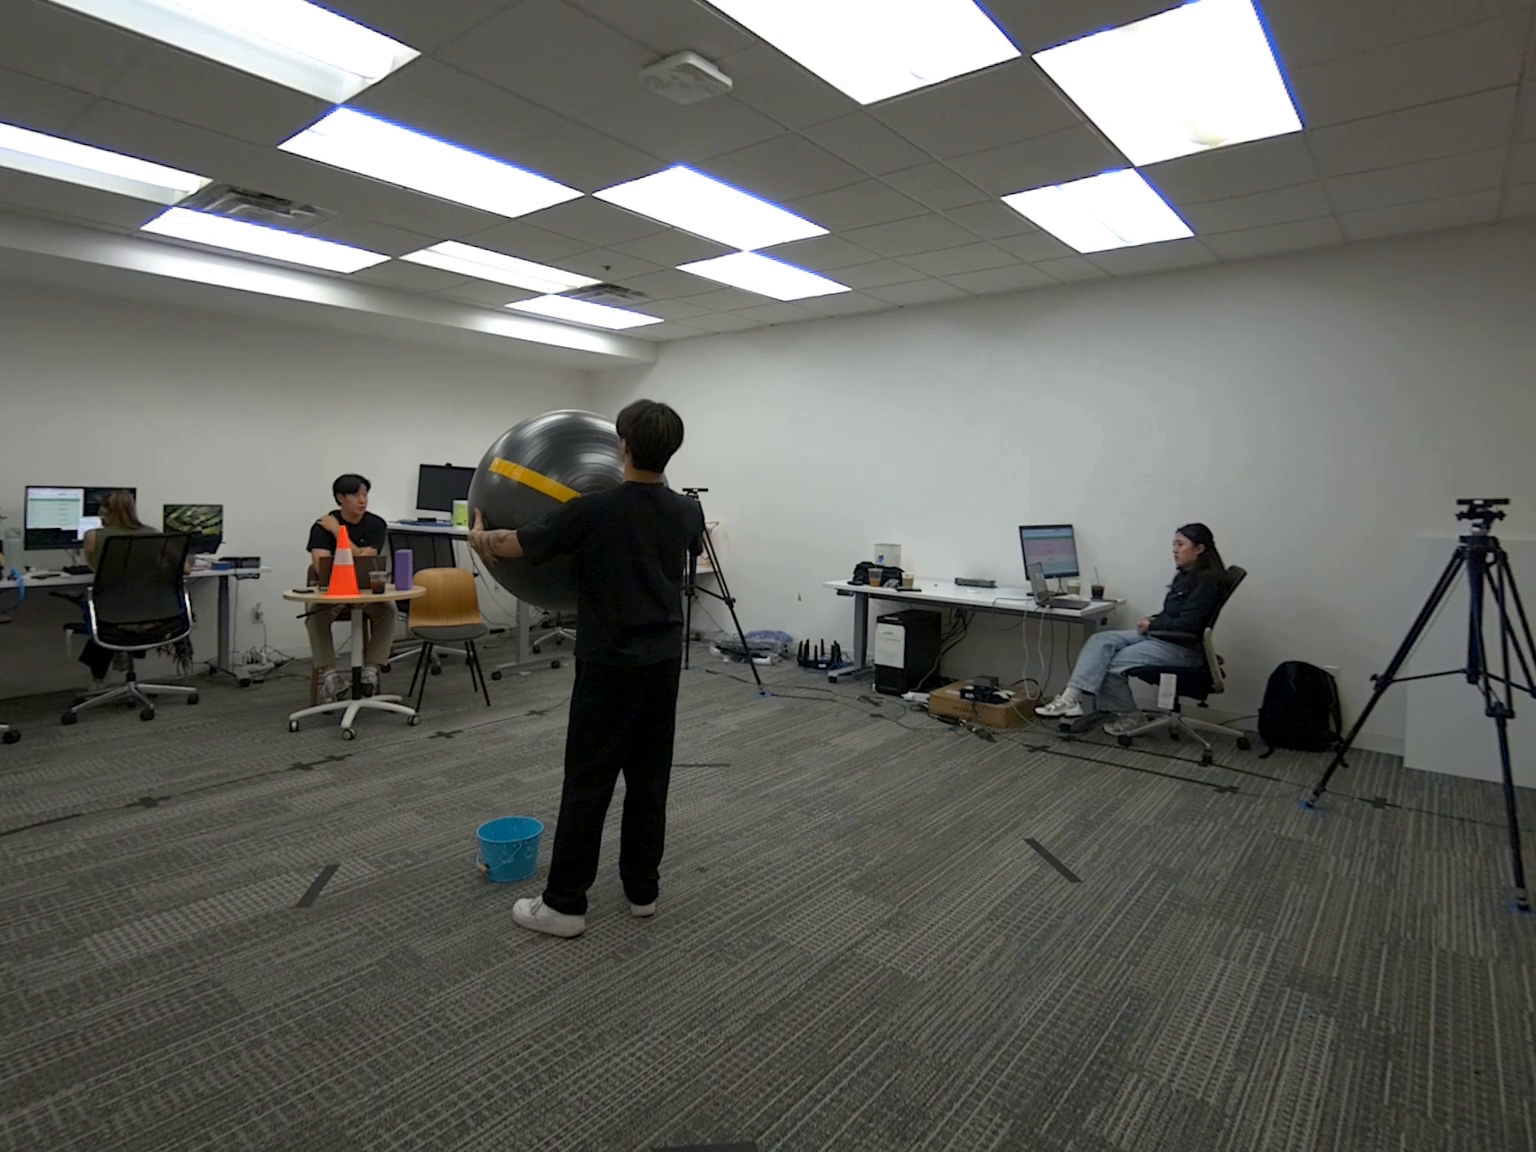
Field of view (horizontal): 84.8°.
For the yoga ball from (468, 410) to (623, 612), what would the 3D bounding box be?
[{"bbox_3d":[-0.758,-0.235,3.201,0.757,0.756,0.762,1,4,-2],"label":"yoga ball"}]
